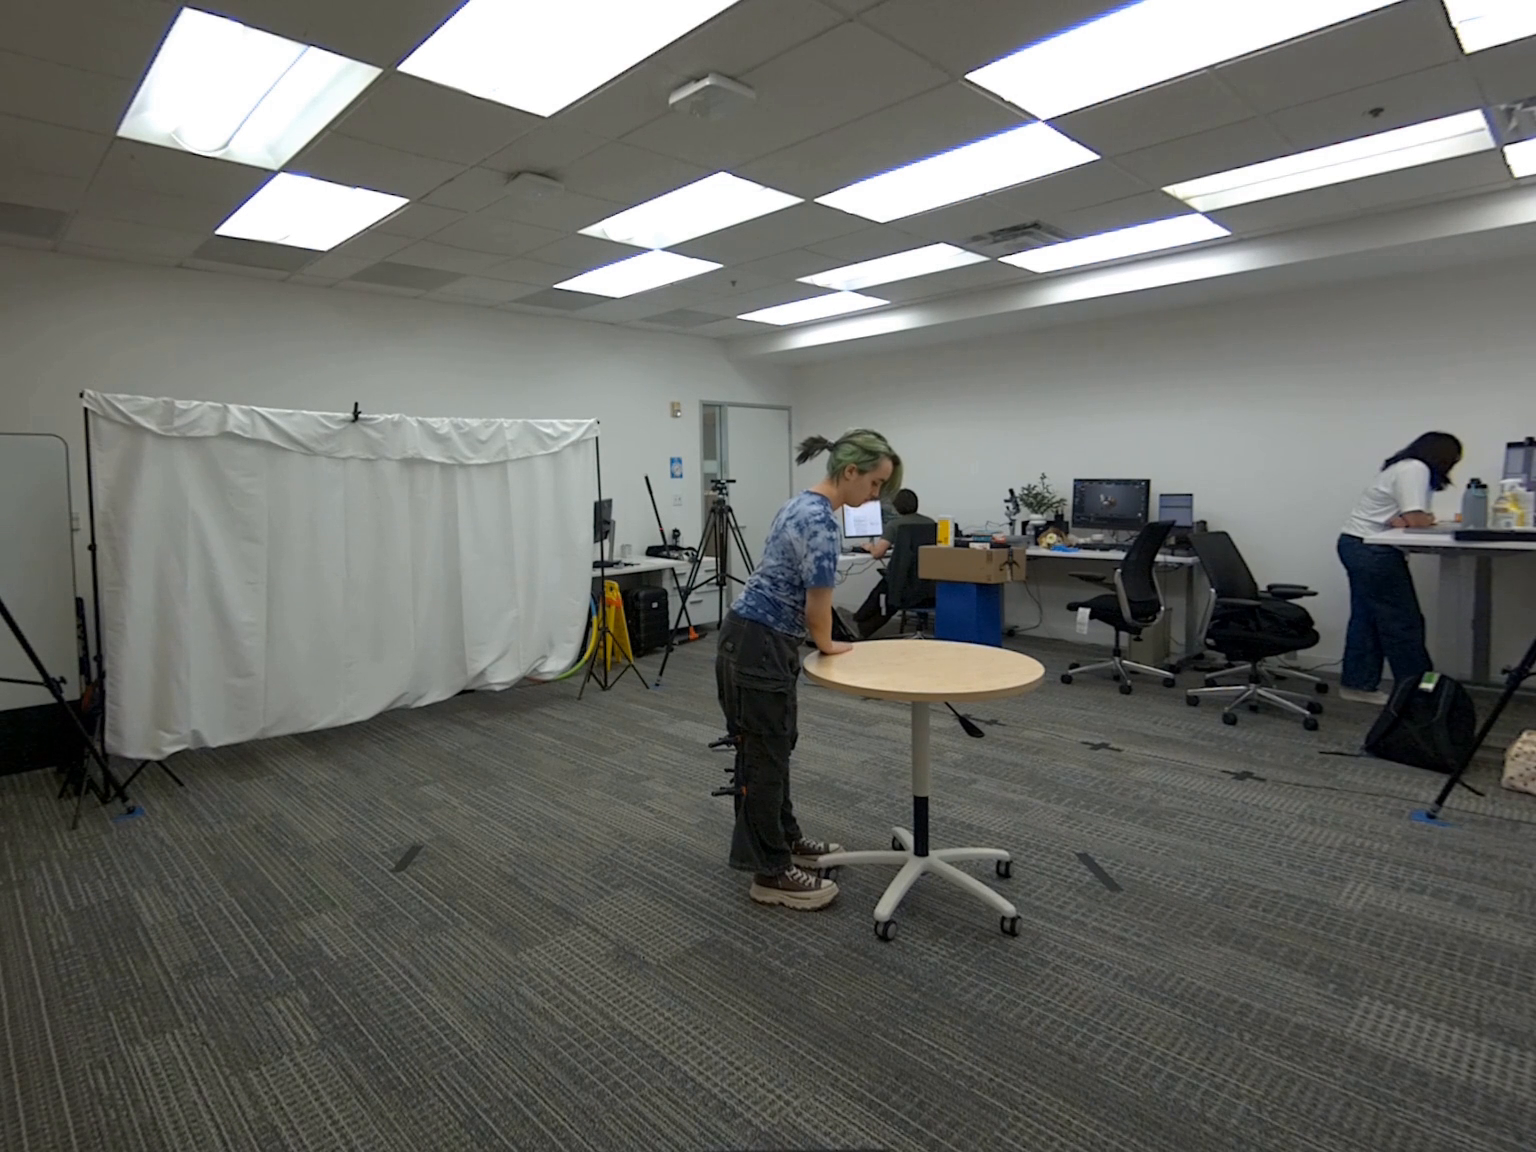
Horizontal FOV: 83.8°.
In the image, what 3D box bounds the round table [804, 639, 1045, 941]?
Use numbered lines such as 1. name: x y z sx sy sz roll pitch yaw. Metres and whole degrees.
1. round table: 0.497 0.673 2.818 0.784 0.783 0.789 -1 5 -2
